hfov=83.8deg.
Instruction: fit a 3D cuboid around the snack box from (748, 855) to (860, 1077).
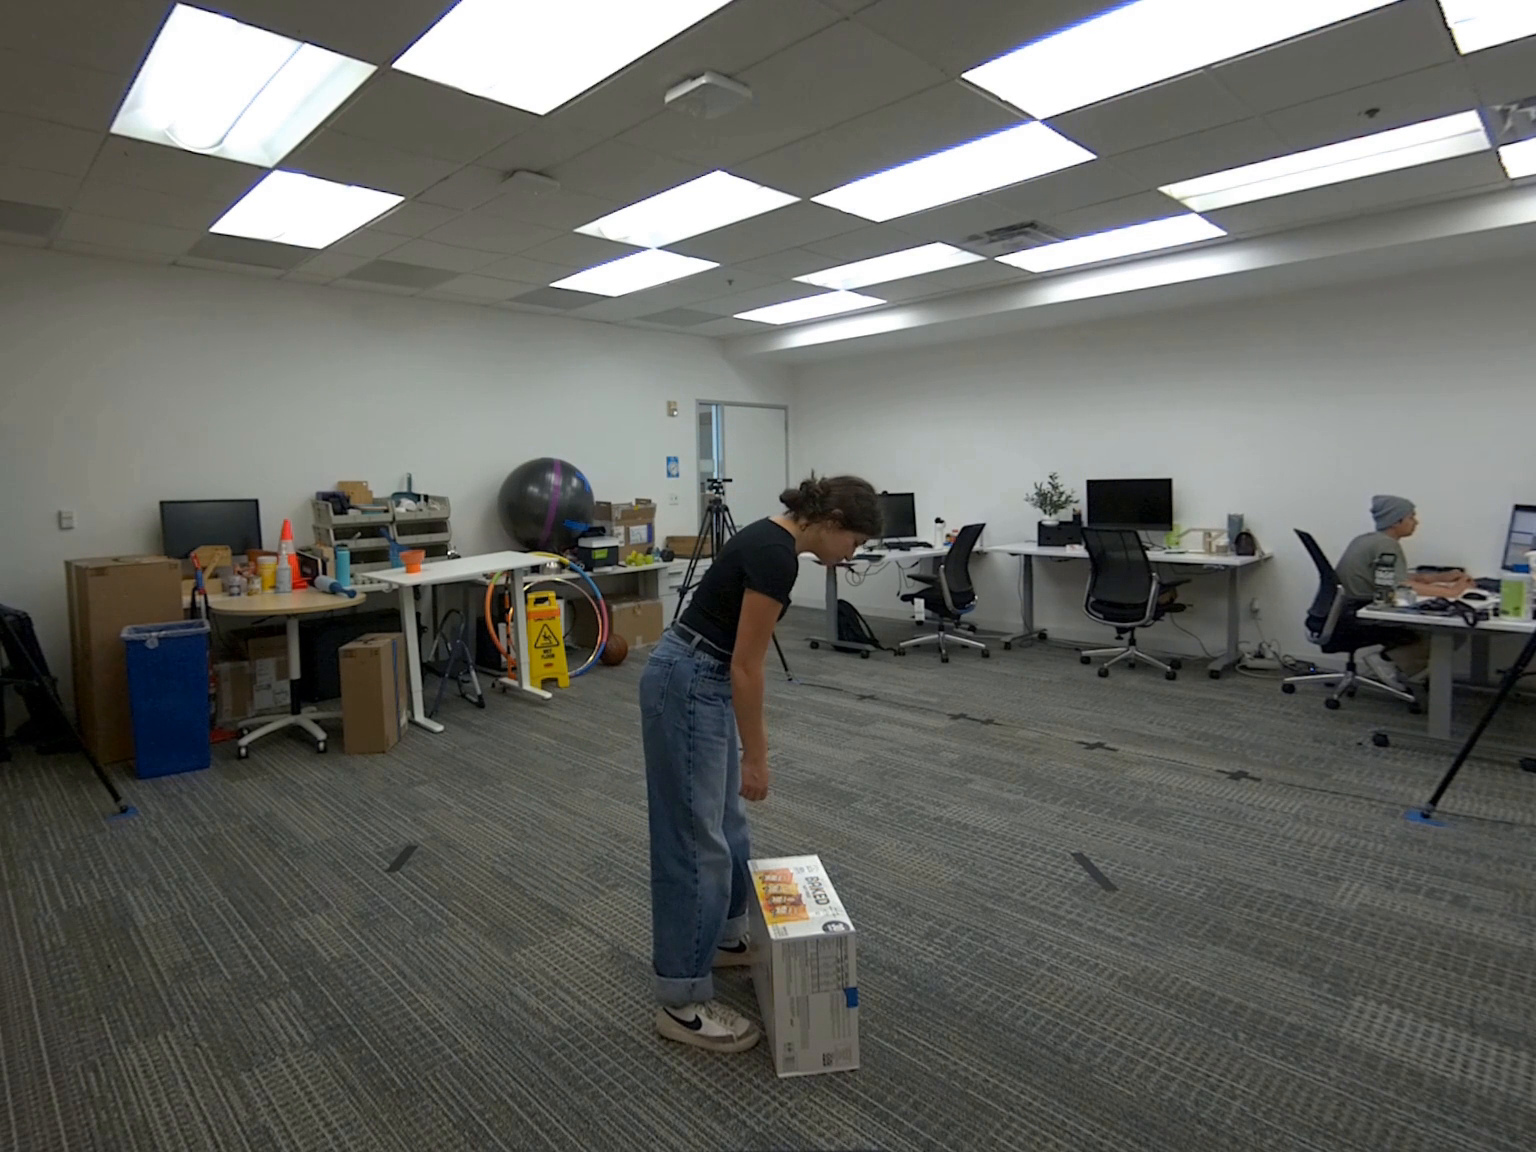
[{"bbox_3d":[0.080,0.978,2.199,0.204,0.339,0.410,-4,6,-9],"label":"snack box"}]
